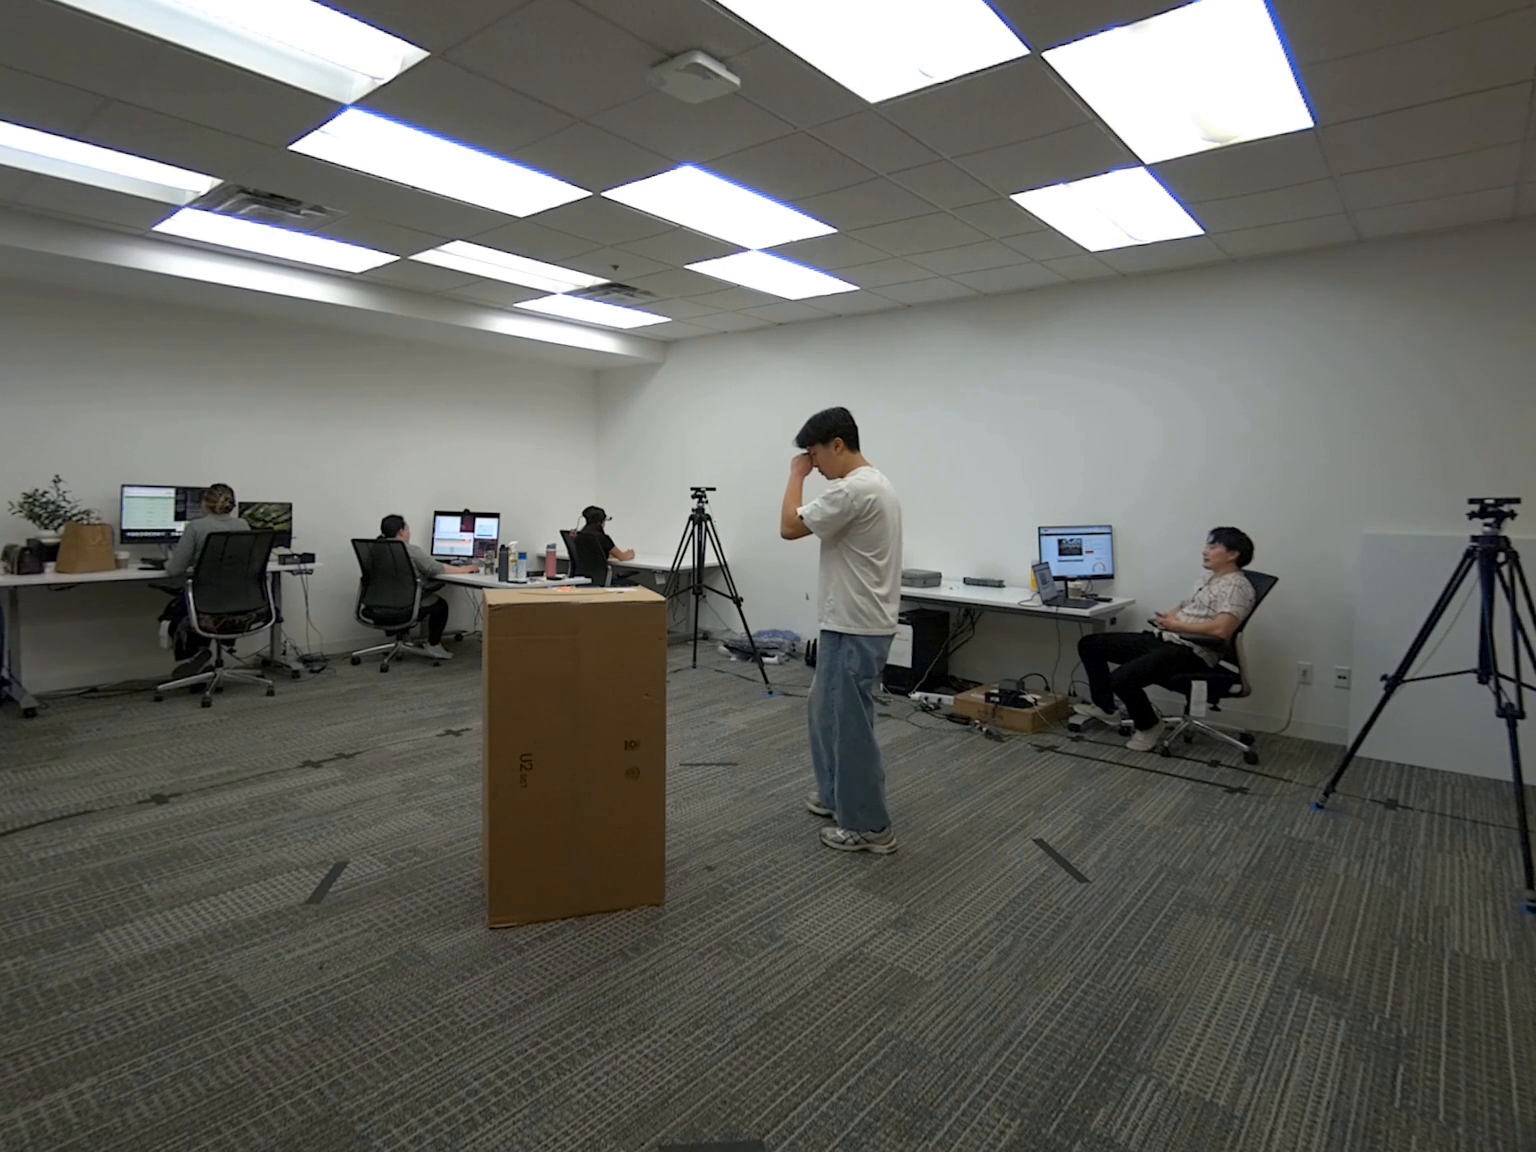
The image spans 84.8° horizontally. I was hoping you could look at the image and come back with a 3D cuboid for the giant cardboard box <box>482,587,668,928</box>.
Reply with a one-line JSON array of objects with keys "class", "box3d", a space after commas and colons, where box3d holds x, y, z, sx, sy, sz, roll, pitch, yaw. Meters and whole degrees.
[{"class": "giant cardboard box", "box3d": [-0.686, 0.568, 2.910, 0.566, 1.023, 0.436, 0, 3, -20]}]
